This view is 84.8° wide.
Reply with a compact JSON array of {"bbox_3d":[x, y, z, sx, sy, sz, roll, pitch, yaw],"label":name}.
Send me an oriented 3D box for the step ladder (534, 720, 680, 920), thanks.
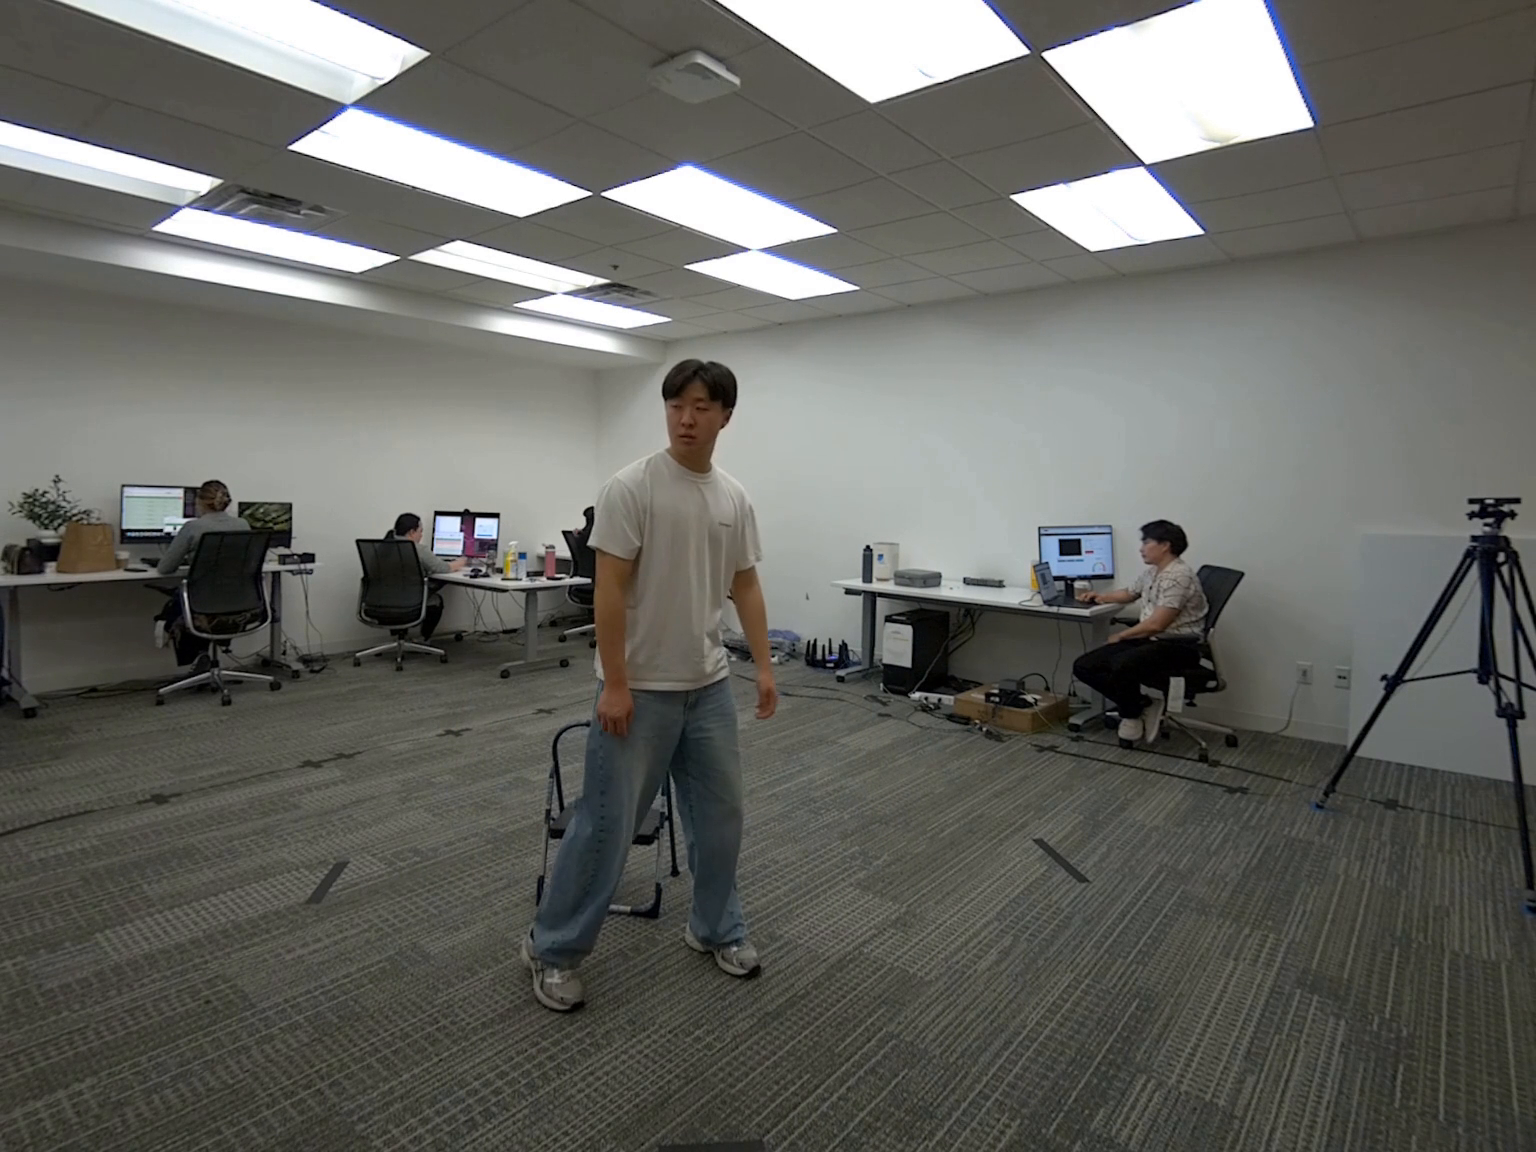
[{"bbox_3d":[-0.553,0.779,2.912,0.434,0.605,0.347,1,3,6],"label":"step ladder"}]
